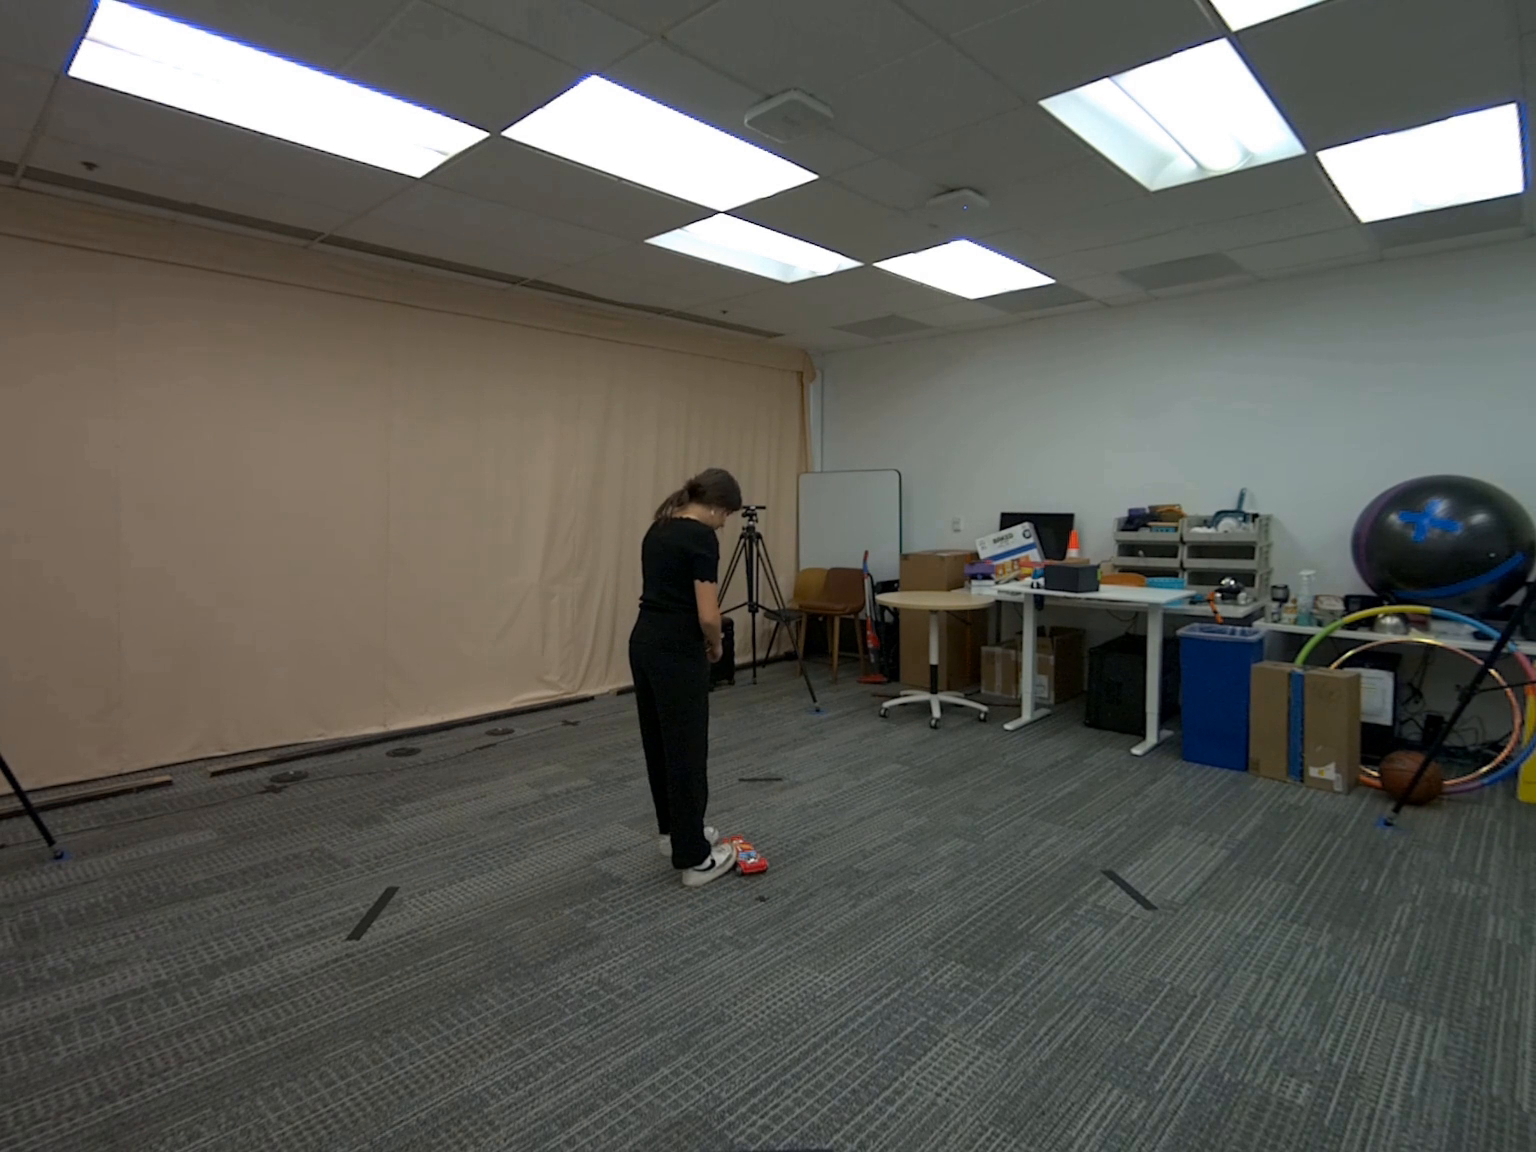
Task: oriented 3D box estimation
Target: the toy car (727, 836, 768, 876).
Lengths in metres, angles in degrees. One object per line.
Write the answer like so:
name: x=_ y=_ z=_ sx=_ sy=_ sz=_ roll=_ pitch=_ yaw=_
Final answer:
toy car: x=-0.092 y=1.086 z=3.271 sx=0.128 sy=0.082 sz=0.261 roll=-2 pitch=14 yaw=-21
